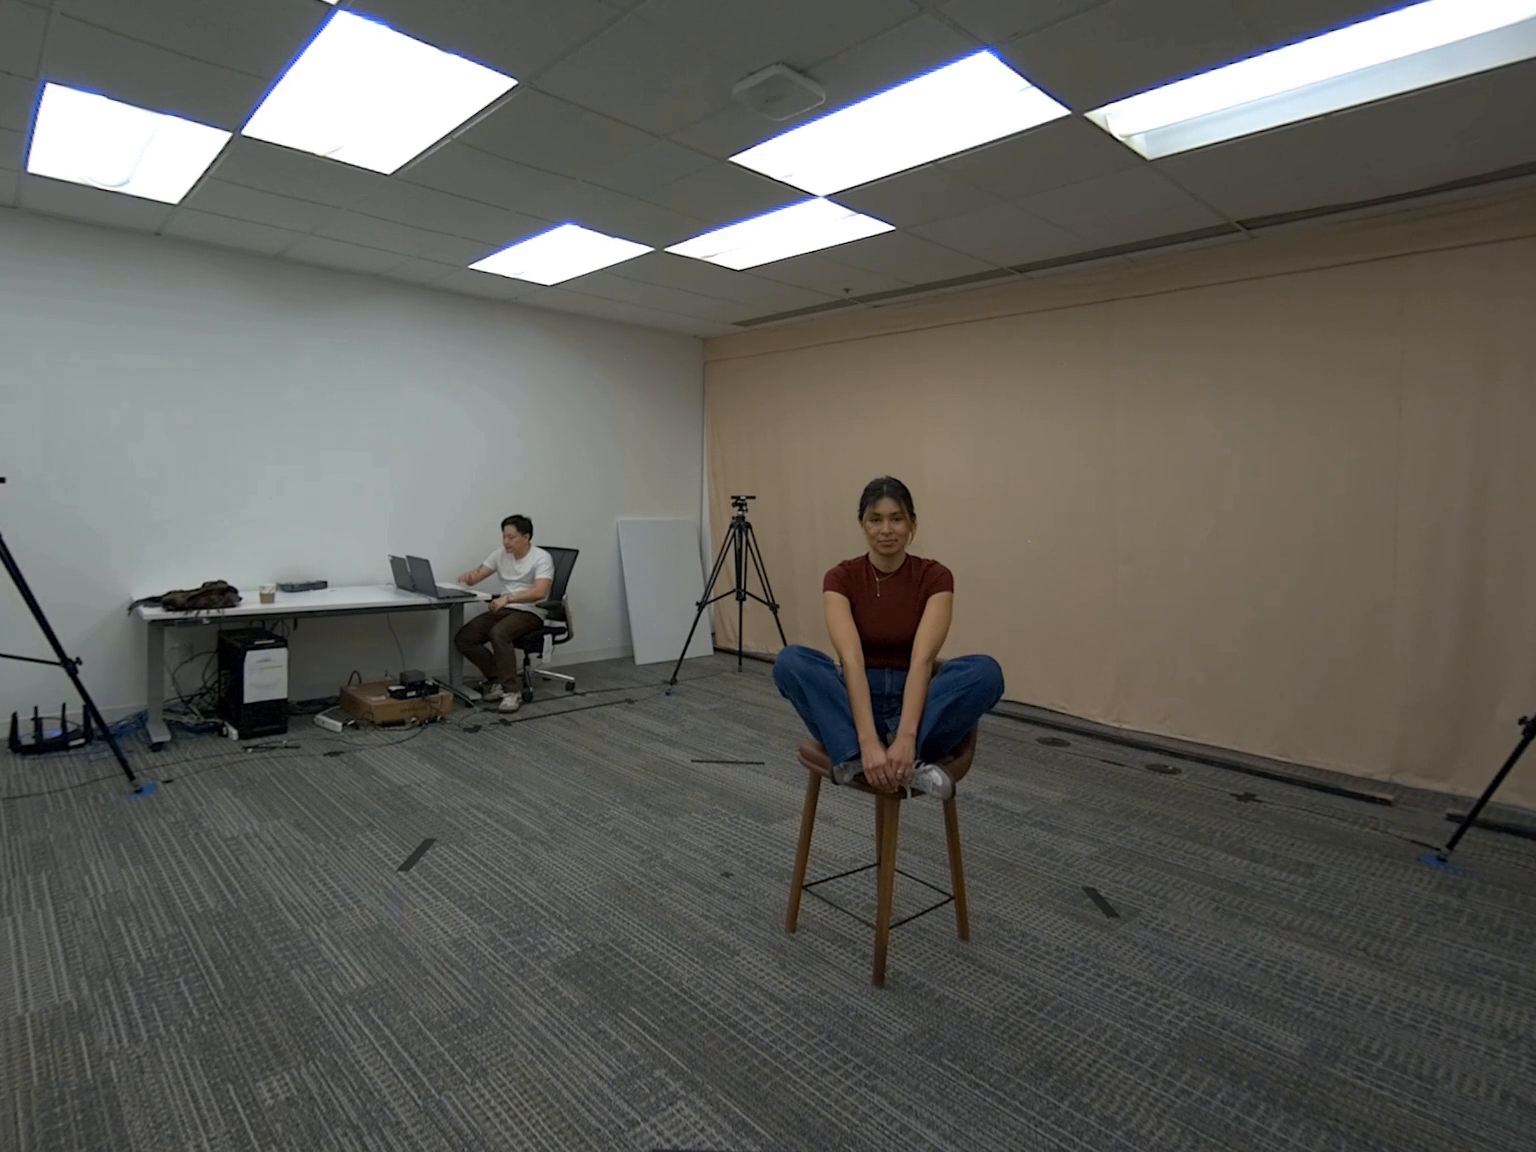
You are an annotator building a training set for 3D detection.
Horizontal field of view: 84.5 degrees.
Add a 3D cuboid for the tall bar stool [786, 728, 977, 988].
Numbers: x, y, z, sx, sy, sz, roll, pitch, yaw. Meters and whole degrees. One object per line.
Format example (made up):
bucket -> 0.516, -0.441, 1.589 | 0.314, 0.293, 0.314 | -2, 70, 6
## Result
tall bar stool -> 0.374, 0.722, 2.670 | 0.456, 0.888, 0.468 | 1, 4, -40
